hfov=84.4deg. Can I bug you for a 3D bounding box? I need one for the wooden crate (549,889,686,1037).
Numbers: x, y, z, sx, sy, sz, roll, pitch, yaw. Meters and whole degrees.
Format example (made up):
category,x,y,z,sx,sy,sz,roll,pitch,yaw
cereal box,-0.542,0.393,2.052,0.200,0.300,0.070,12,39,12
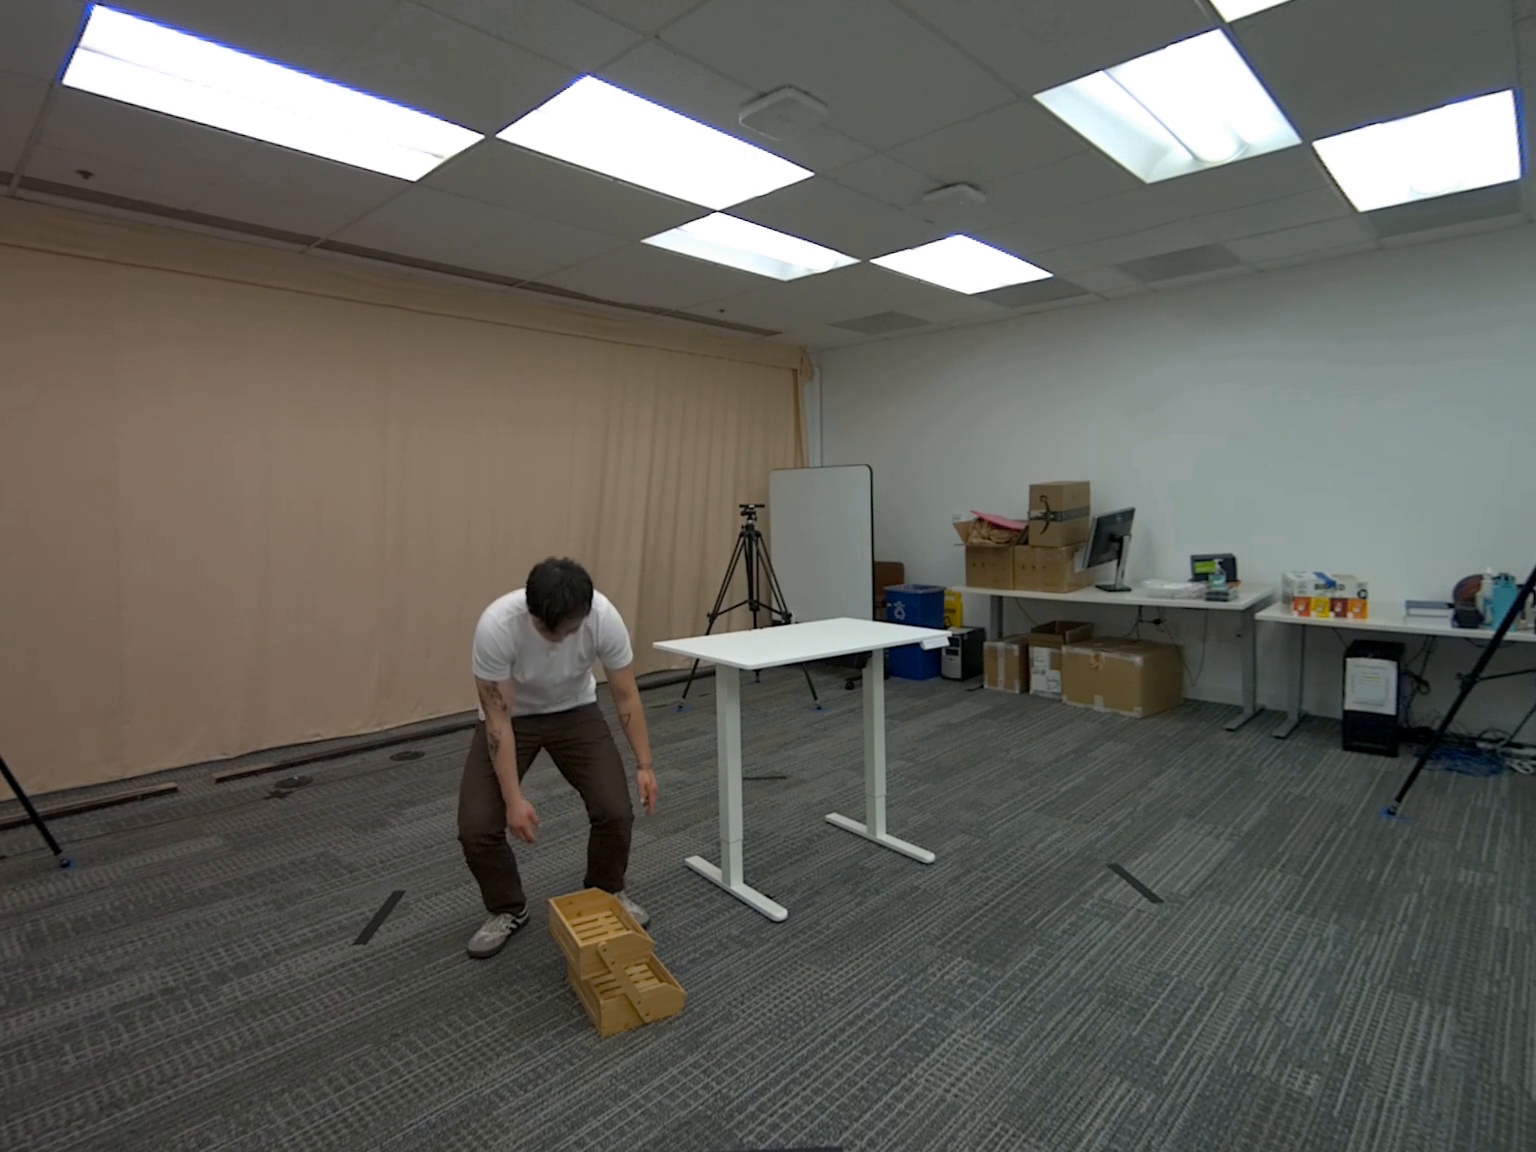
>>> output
category,x,y,z,sx,sy,sz,roll,pitch,yaw
wooden crate,-0.425,1.064,2.381,0.294,0.273,0.333,-4,4,-29
